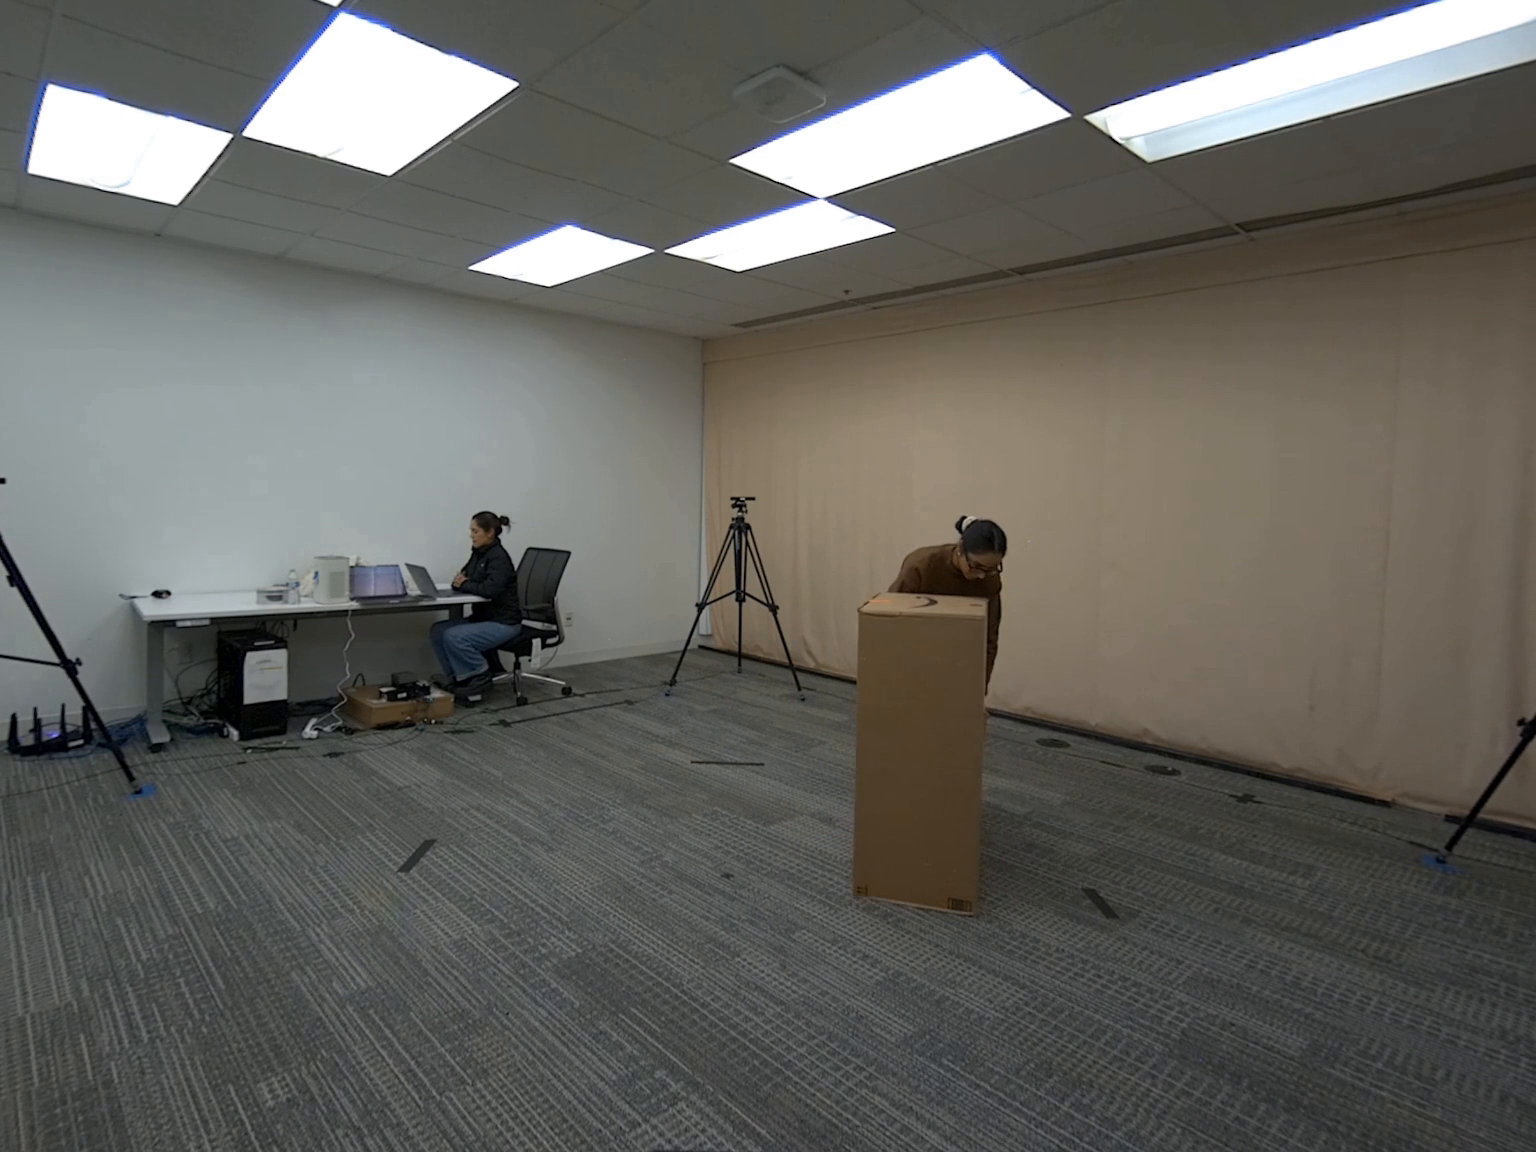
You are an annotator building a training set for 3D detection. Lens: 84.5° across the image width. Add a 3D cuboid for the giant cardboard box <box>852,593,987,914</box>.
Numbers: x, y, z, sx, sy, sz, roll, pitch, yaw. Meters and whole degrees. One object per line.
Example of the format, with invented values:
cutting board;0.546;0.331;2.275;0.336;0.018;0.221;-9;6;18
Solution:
giant cardboard box;0.569;0.611;3.141;0.432;1.023;0.571;2;3;16
